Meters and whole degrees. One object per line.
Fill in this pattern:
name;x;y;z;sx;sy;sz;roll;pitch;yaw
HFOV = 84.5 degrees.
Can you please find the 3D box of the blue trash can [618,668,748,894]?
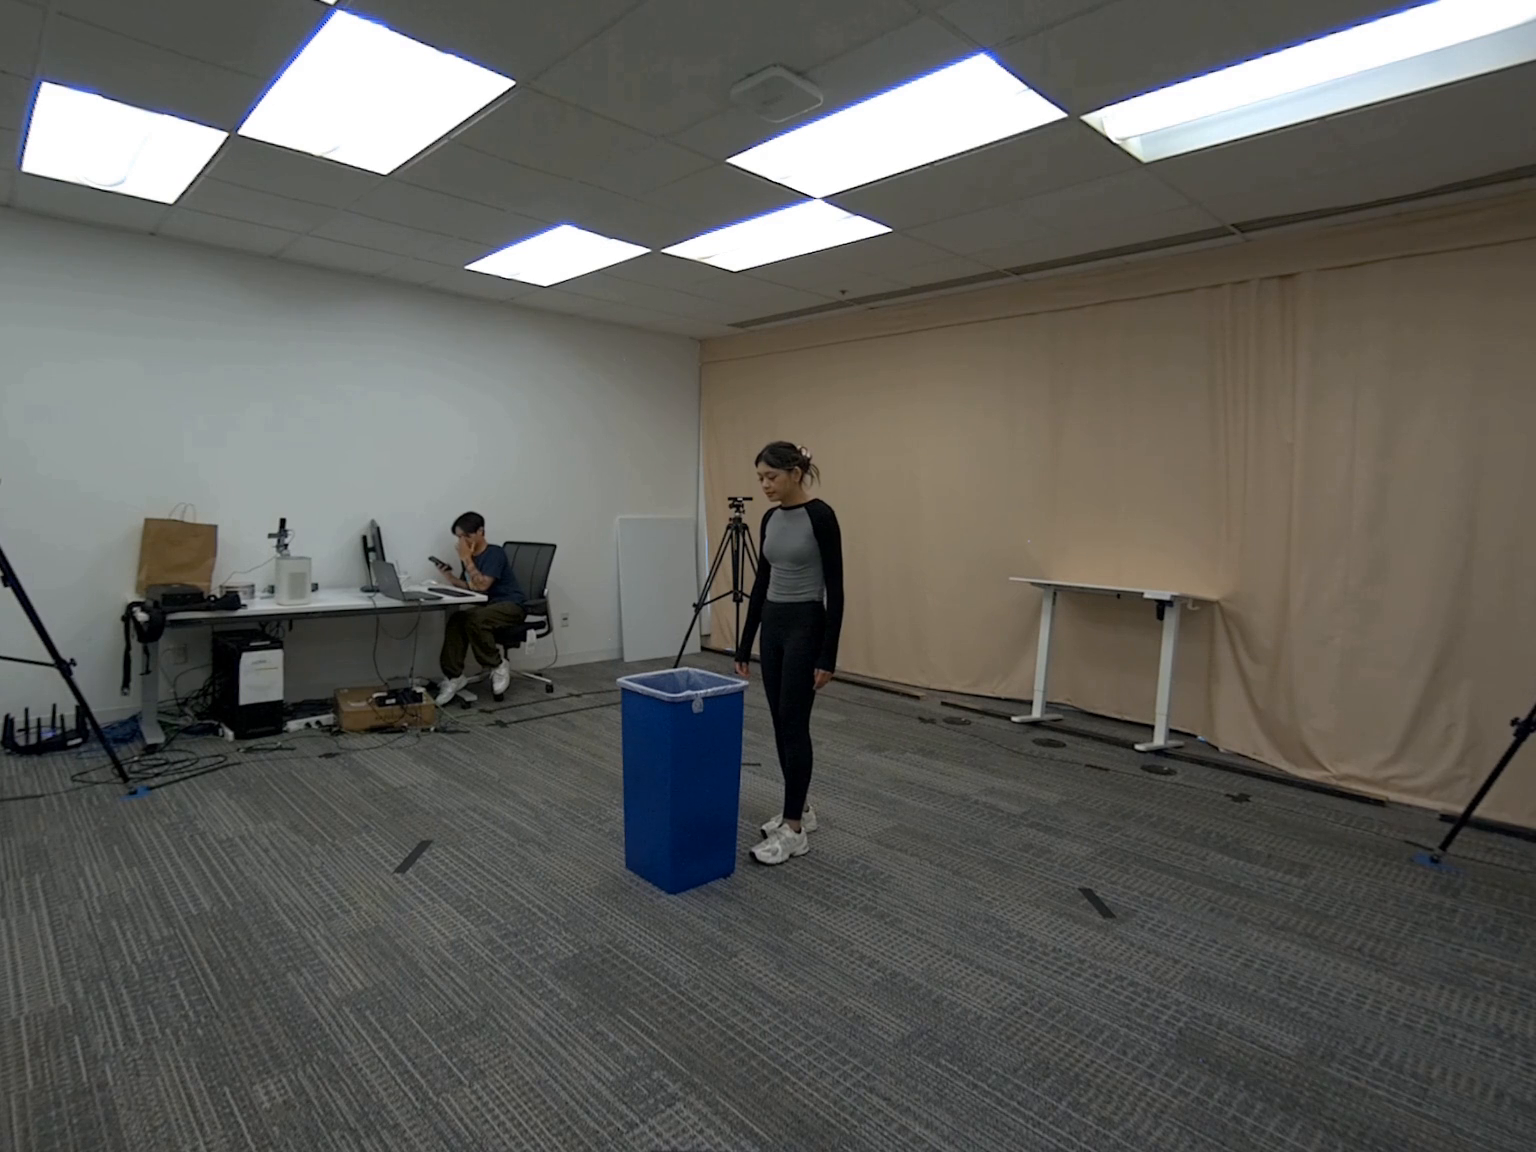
blue trash can;-0.337;0.743;3.134;0.369;0.712;0.384;-1;5;-42
